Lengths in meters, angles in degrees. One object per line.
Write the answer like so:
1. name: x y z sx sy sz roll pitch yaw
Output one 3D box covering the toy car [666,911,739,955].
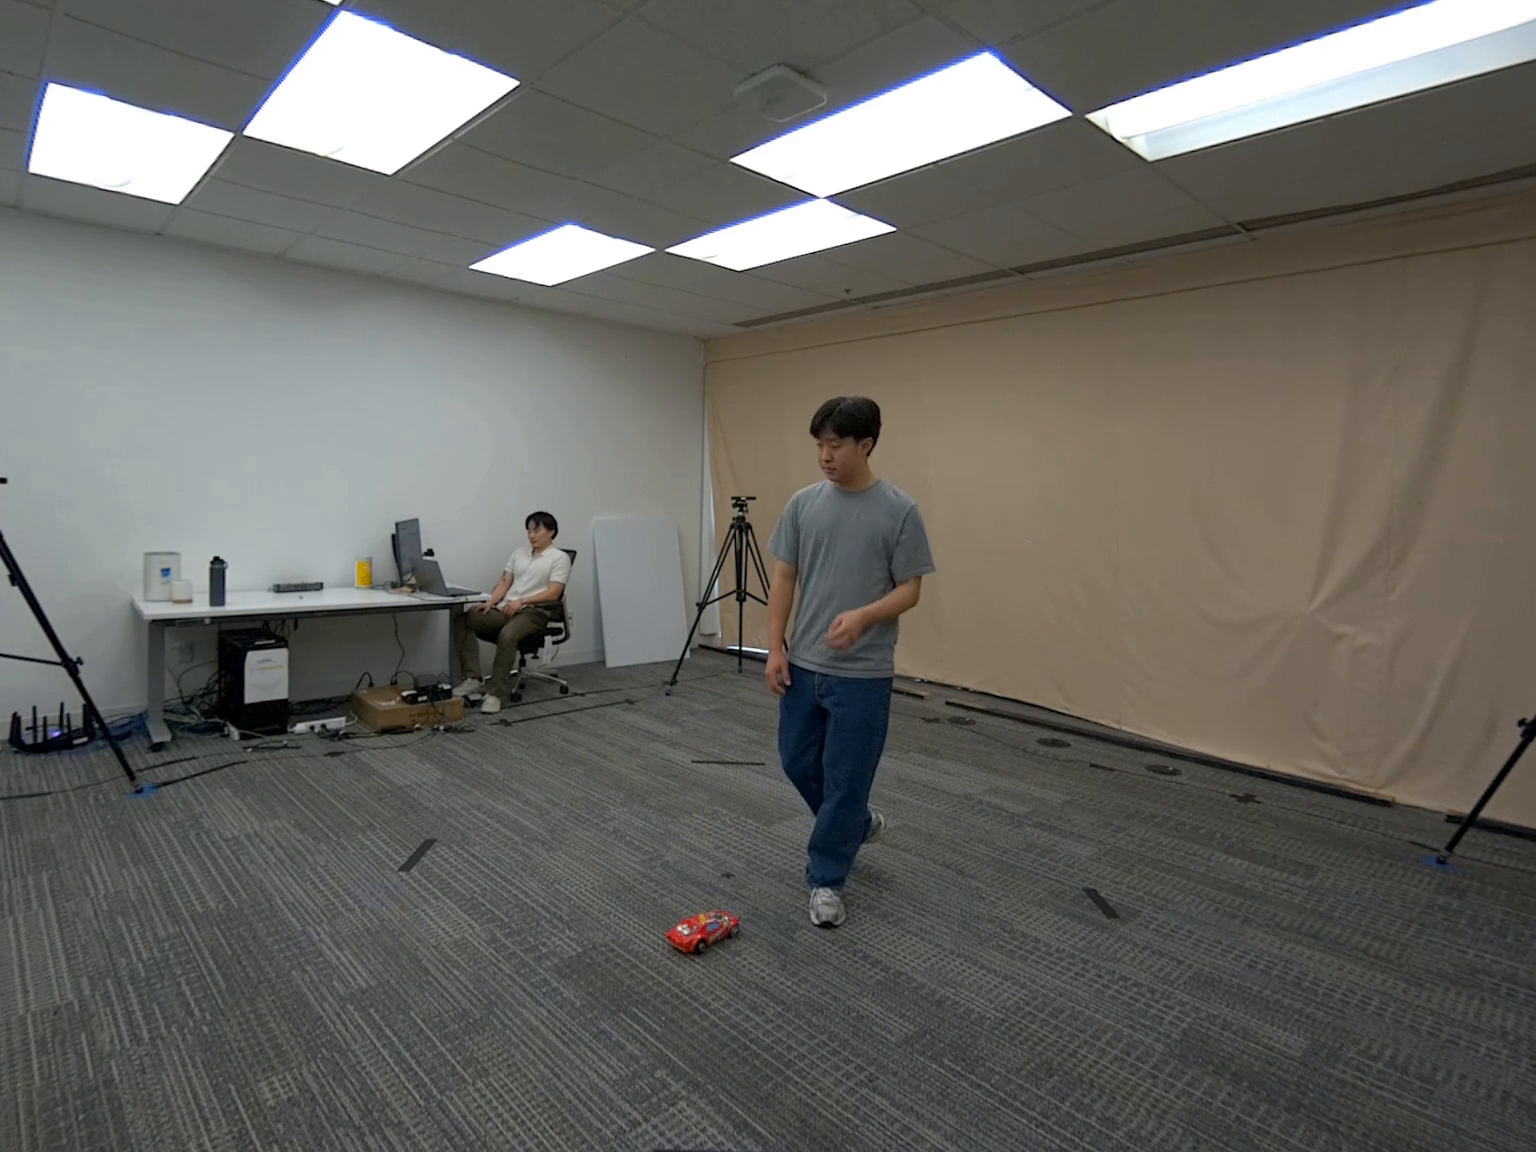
1. toy car: -0.217 1.114 2.628 0.133 0.083 0.247 5 -5 45
